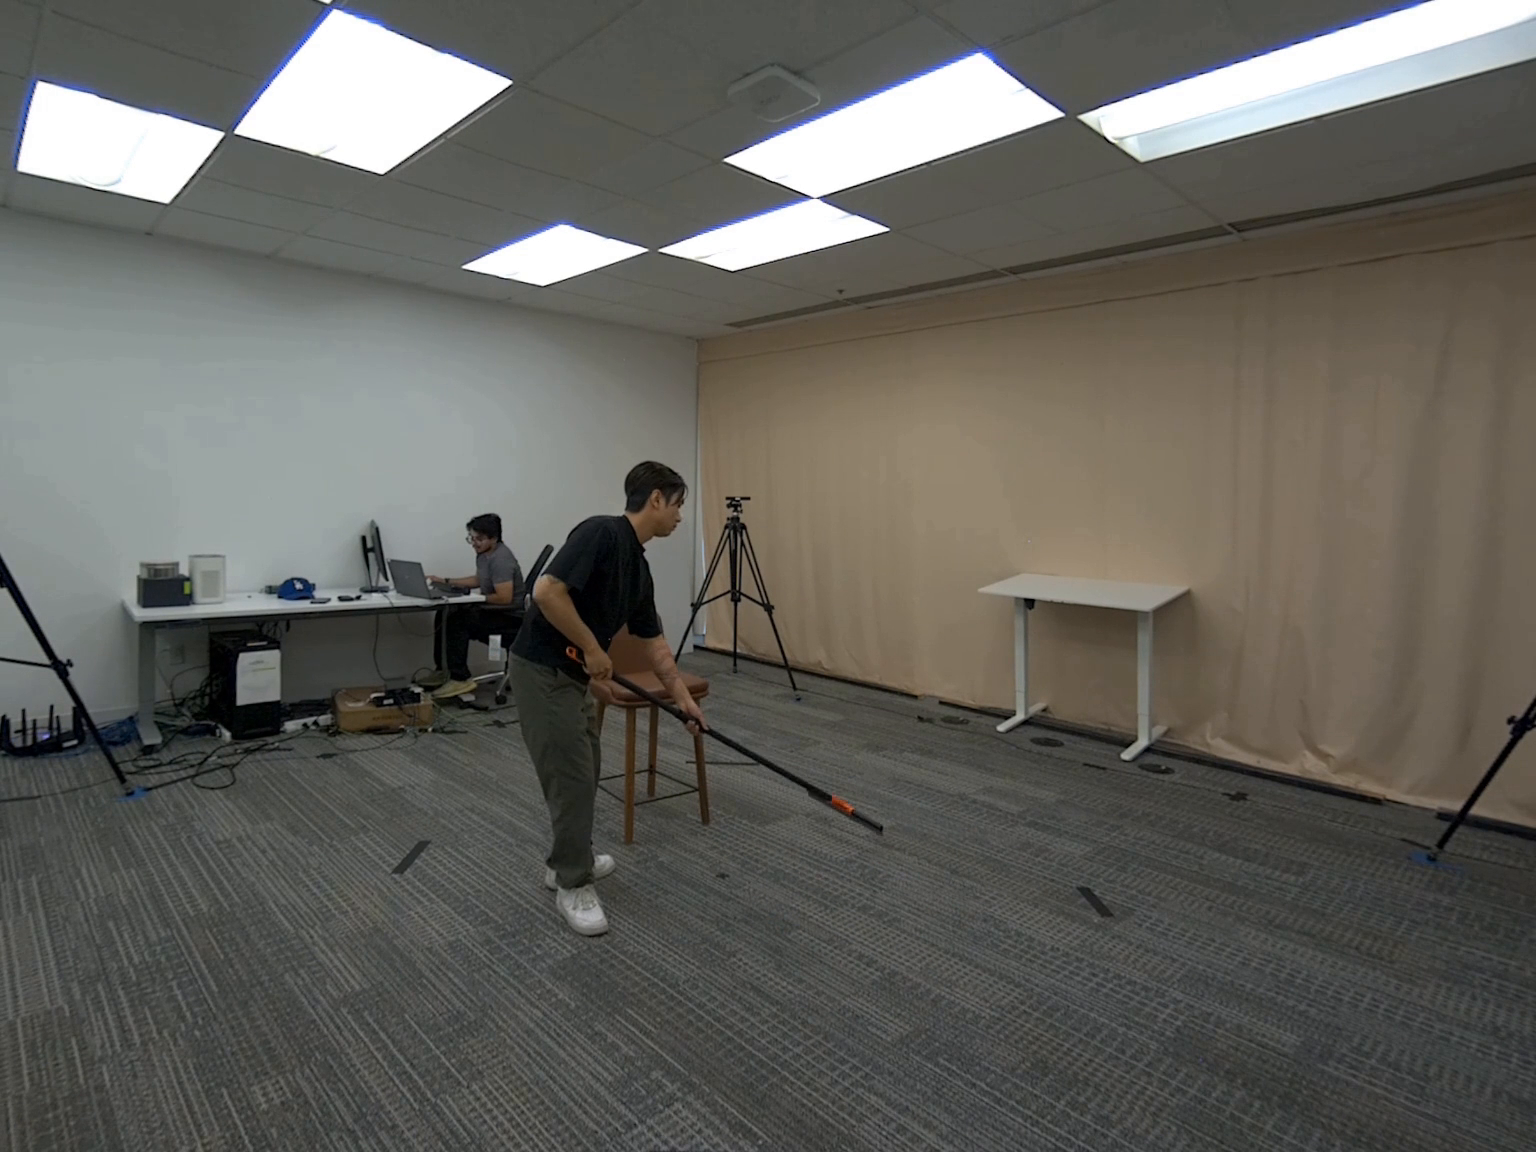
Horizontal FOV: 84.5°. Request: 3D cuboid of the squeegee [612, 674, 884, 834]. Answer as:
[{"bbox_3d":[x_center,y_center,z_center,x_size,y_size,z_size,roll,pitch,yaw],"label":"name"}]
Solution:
[{"bbox_3d":[-0.154,0.591,3.030,1.490,0.053,0.450,37,-13,-38],"label":"squeegee"}]
